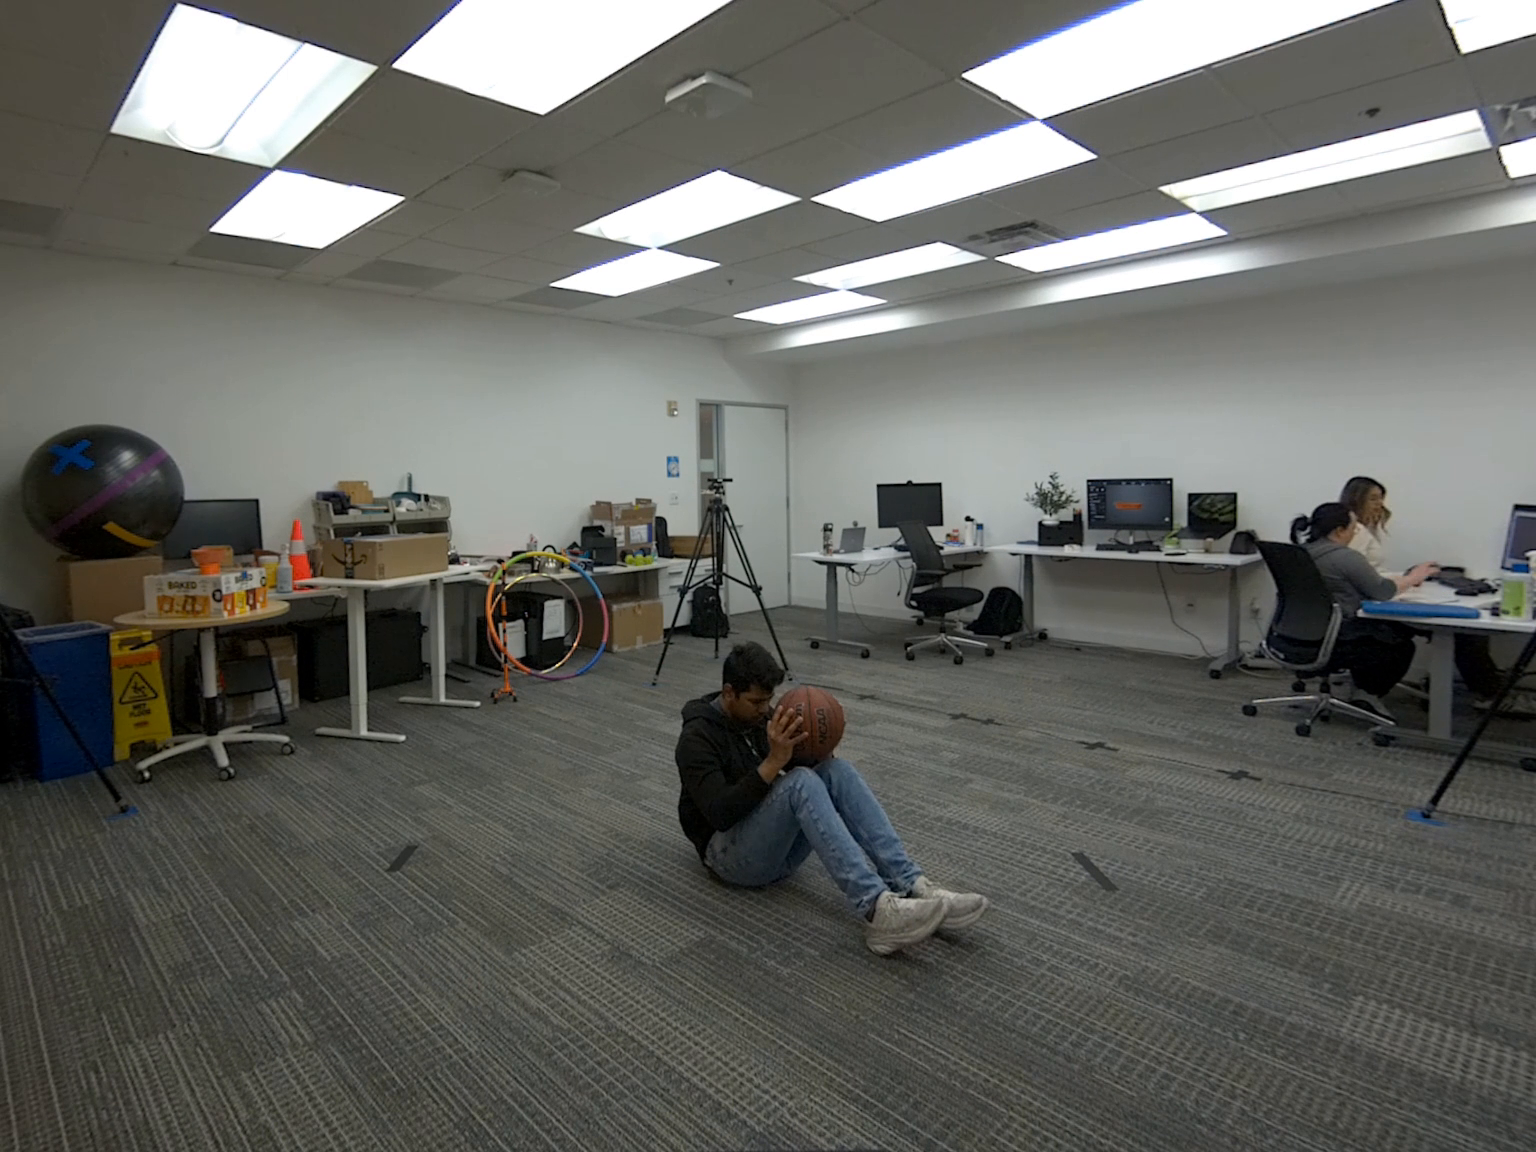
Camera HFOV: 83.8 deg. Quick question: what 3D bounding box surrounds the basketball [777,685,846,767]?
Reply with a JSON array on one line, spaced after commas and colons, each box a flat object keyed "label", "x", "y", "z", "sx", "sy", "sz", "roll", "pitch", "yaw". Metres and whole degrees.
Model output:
[{"label": "basketball", "x": 0.125, "y": 0.476, "z": 2.839, "sx": 0.236, "sy": 0.235, "sz": 0.237, "roll": -1, "pitch": 5, "yaw": -2}]
